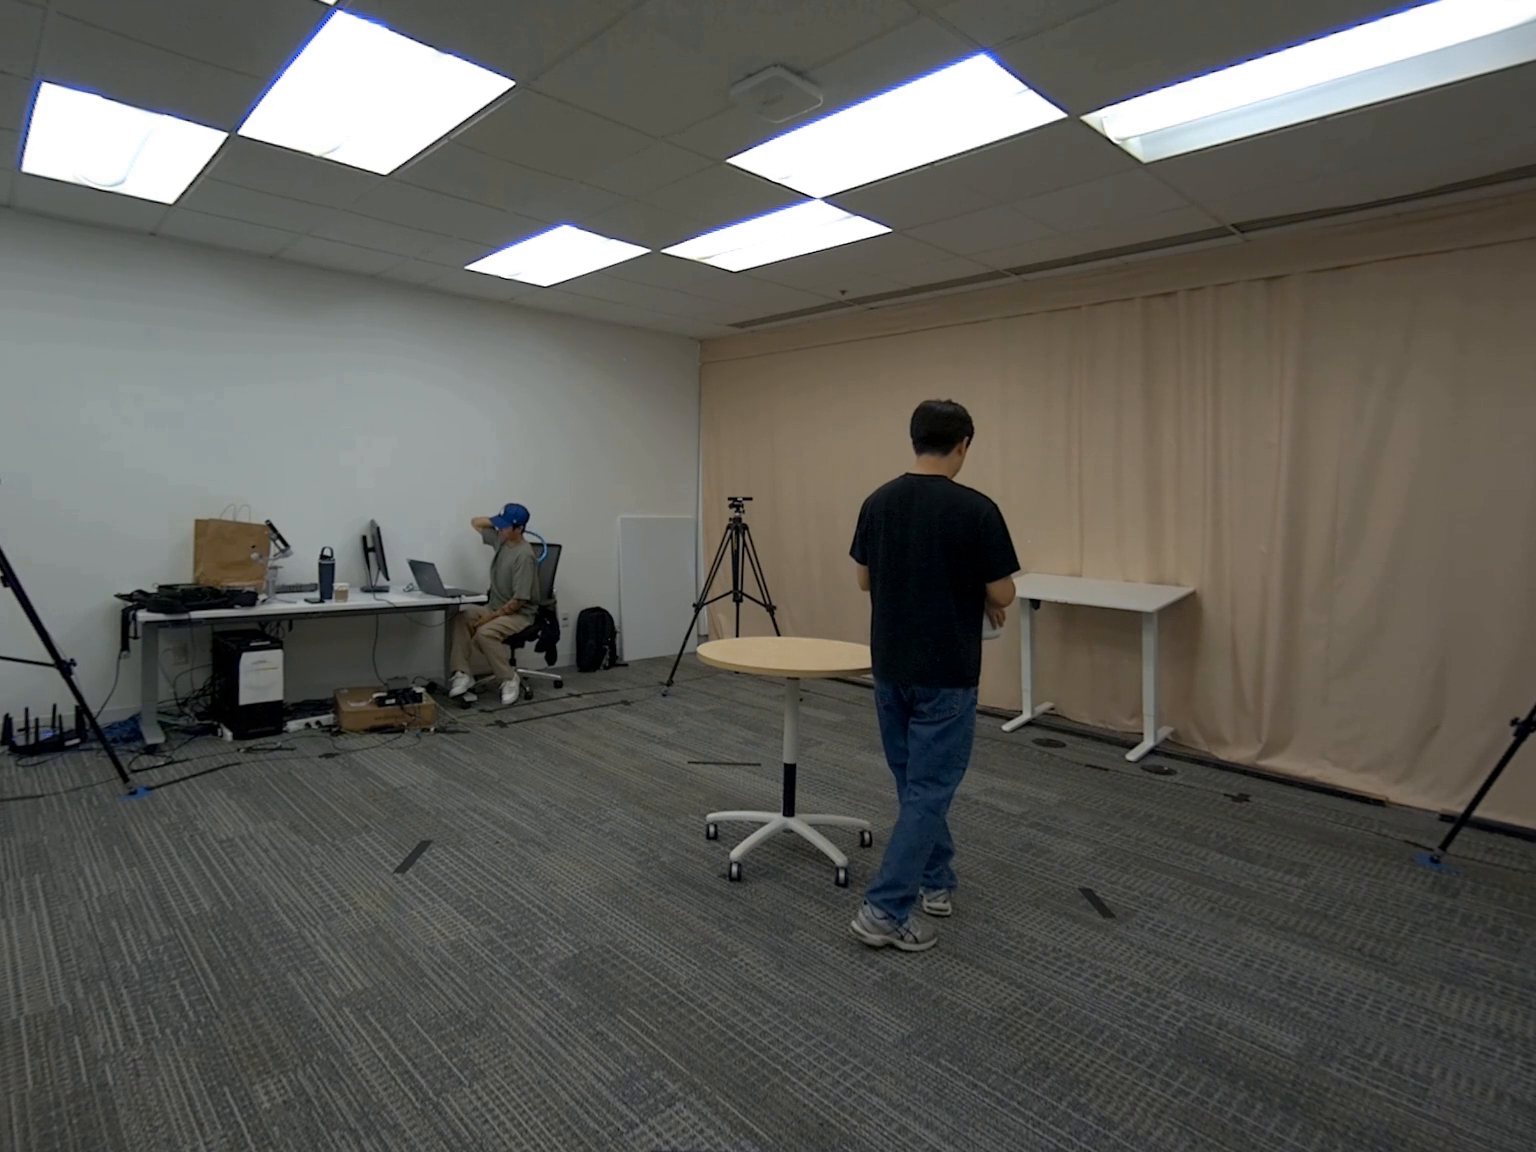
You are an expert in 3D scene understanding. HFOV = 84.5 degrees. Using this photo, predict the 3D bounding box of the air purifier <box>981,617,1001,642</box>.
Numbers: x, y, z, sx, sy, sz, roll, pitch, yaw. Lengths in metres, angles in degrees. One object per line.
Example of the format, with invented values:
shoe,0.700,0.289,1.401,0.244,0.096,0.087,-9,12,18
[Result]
air purifier,0.733,0.093,3.000,0.175,0.265,0.167,2,2,43
